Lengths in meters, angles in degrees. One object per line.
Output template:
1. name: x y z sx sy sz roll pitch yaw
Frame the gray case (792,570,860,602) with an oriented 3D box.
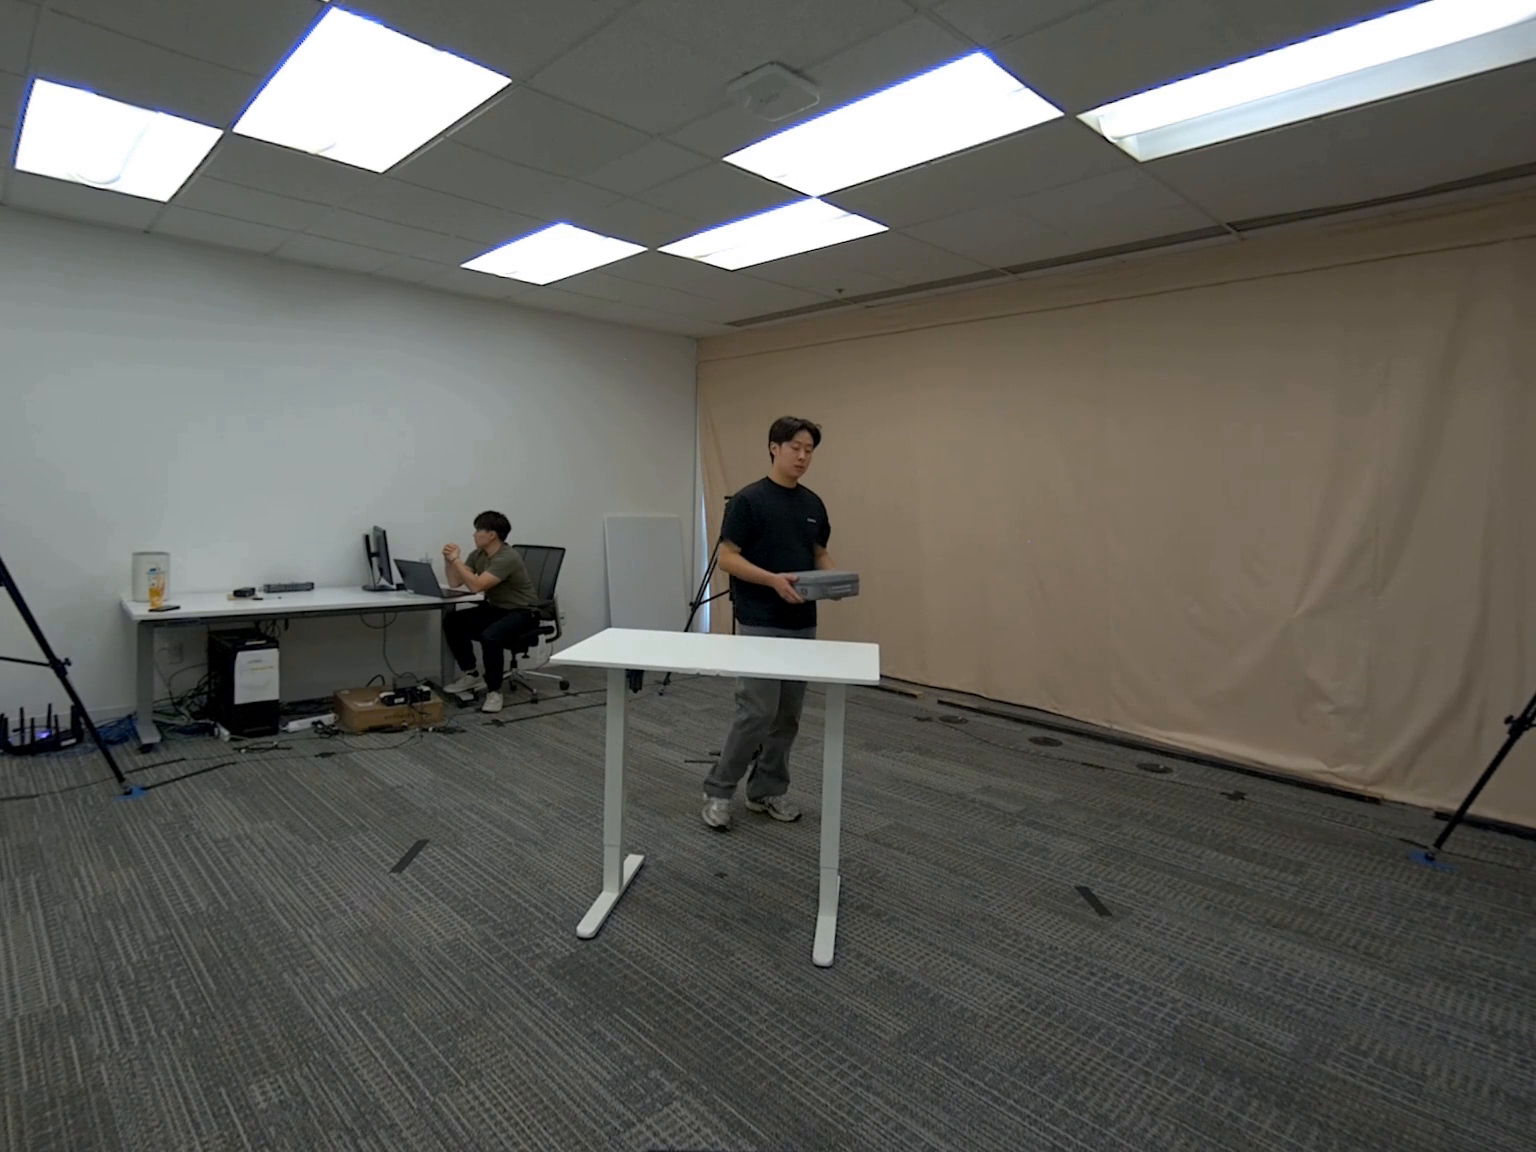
1. gray case: 0.201 0.038 3.449 0.259 0.103 0.293 -4 5 -25
